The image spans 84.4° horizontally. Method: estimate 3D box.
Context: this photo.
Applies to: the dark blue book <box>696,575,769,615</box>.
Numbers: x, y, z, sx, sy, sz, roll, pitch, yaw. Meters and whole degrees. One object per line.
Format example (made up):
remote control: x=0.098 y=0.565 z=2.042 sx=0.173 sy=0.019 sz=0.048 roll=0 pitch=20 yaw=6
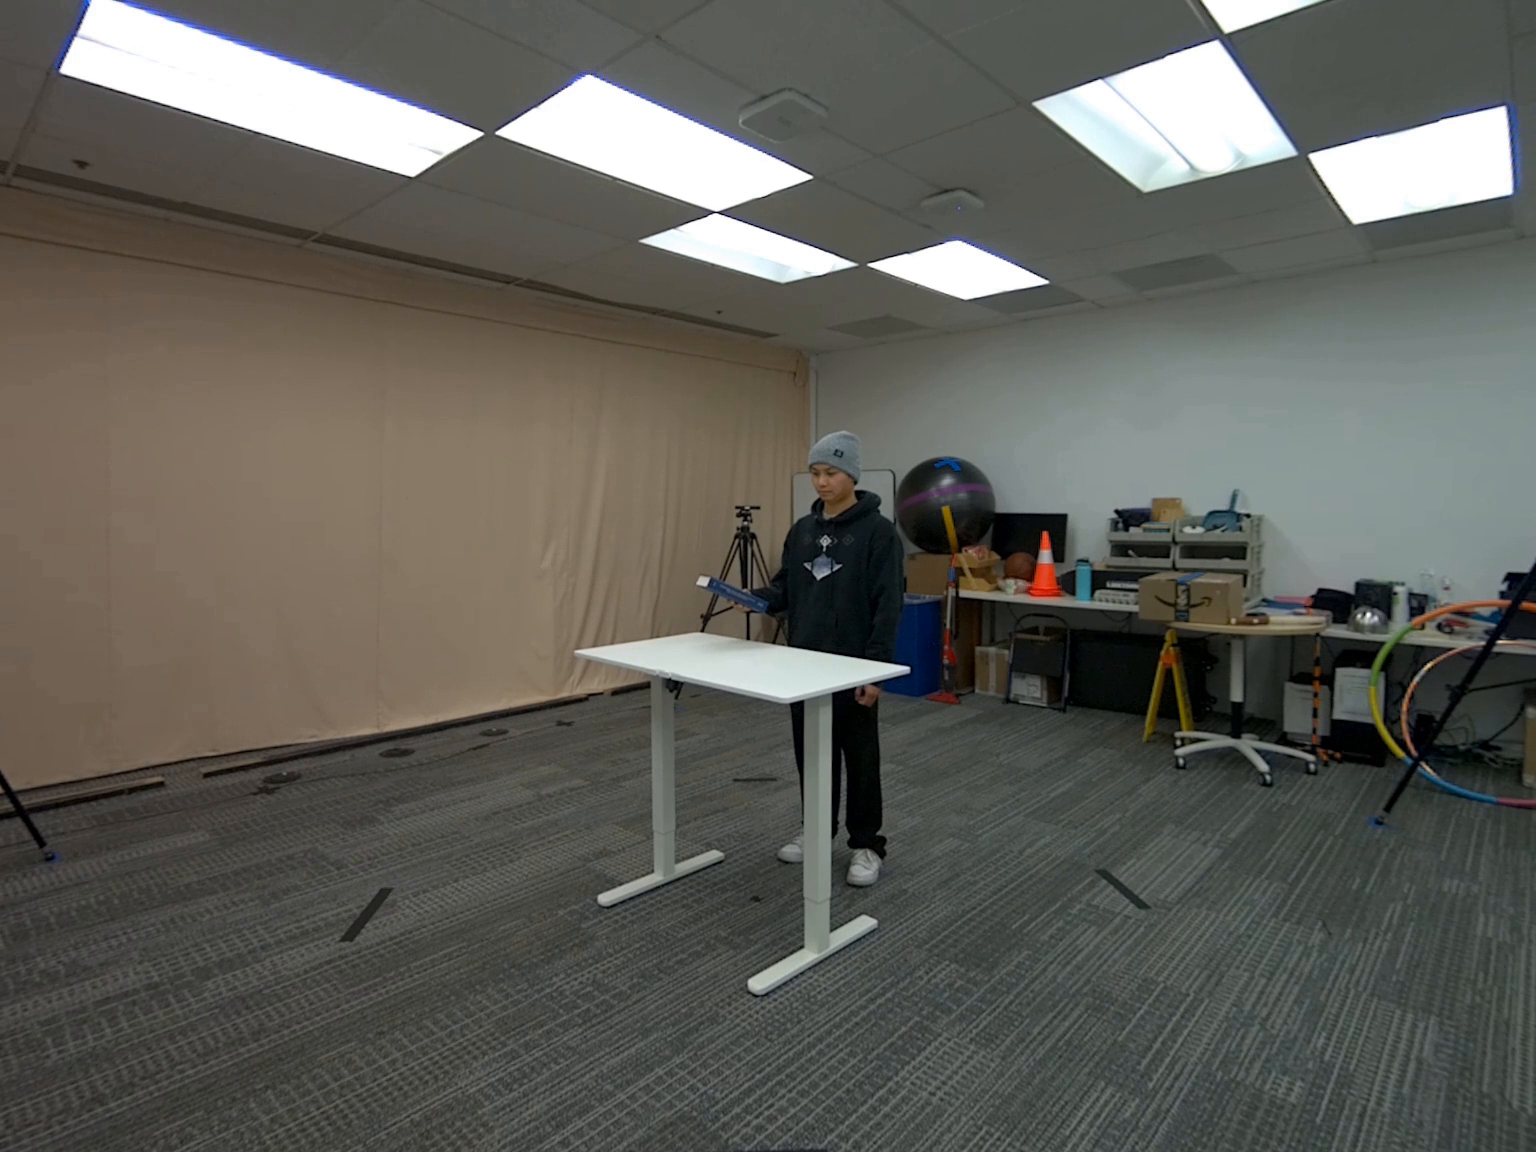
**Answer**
dark blue book: x=-0.126 y=0.066 z=3.119 sx=0.240 sy=0.045 sz=0.167 roll=25 pitch=-7 yaw=-19
